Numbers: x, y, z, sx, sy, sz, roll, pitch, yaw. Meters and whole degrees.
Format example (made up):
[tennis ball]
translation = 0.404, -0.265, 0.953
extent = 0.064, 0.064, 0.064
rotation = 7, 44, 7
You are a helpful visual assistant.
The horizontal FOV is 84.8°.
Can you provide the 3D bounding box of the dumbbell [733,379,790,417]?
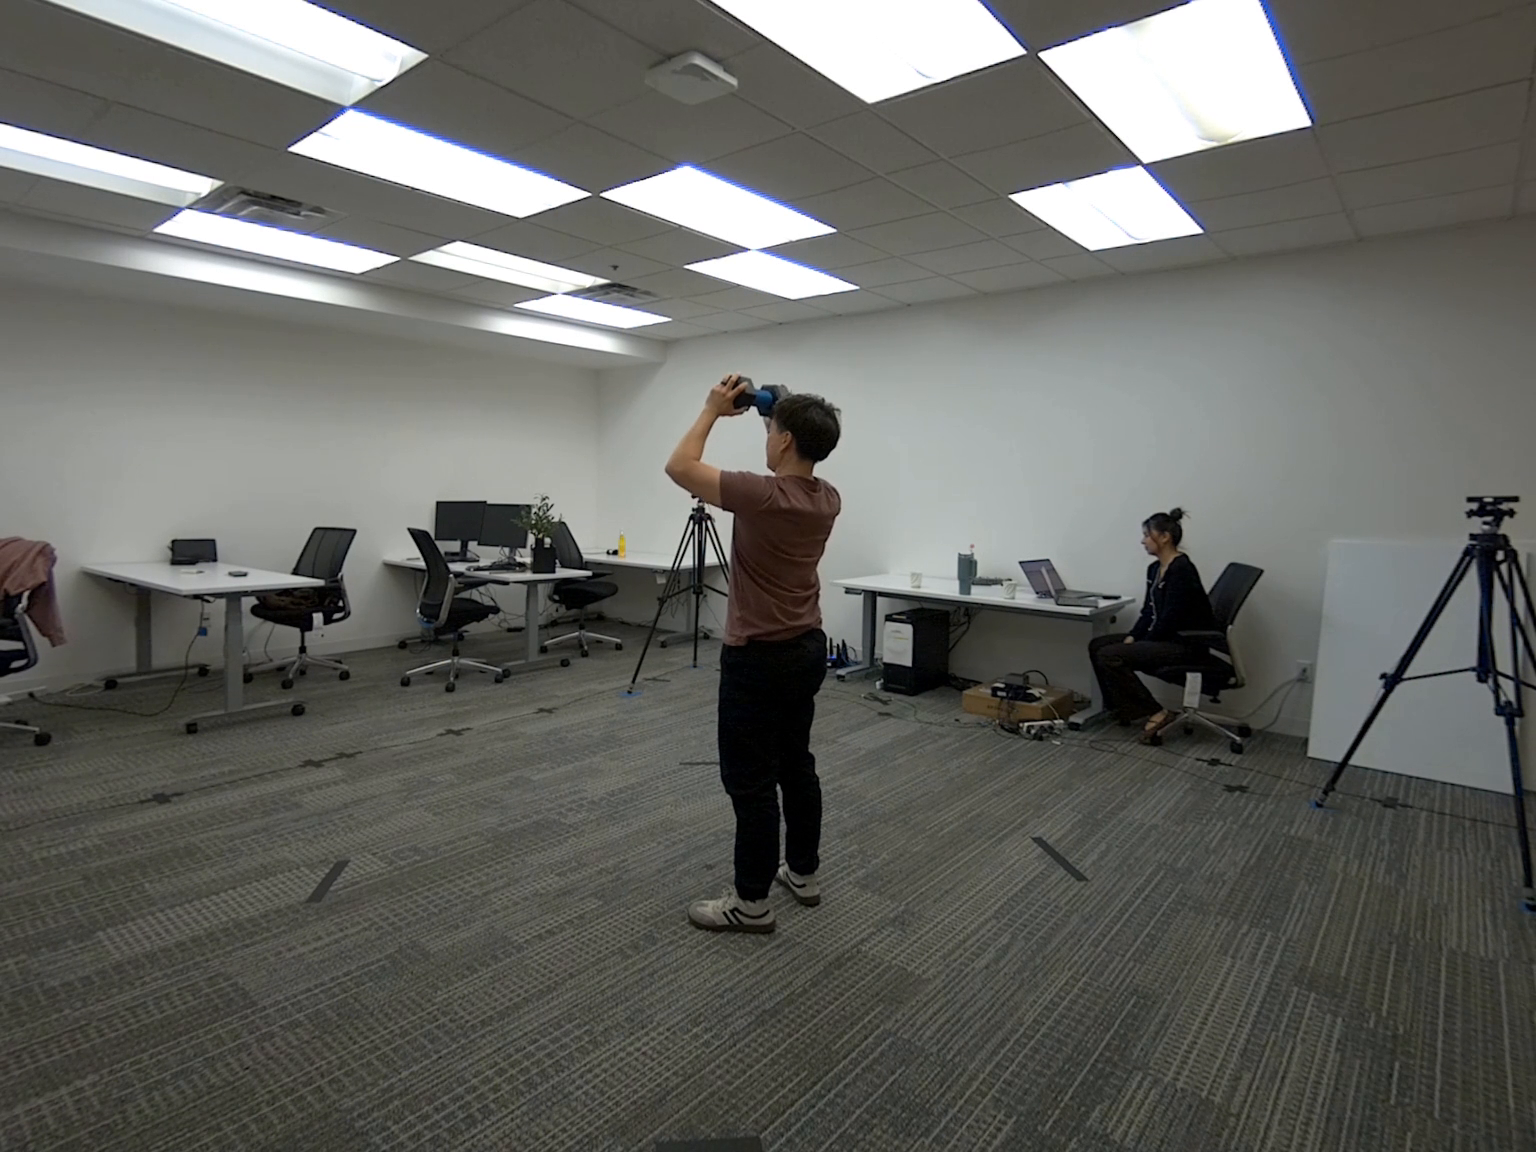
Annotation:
[dumbbell]
translation = -0.054, -0.593, 2.829
extent = 0.113, 0.122, 0.285
rotation = 43, 25, 27
